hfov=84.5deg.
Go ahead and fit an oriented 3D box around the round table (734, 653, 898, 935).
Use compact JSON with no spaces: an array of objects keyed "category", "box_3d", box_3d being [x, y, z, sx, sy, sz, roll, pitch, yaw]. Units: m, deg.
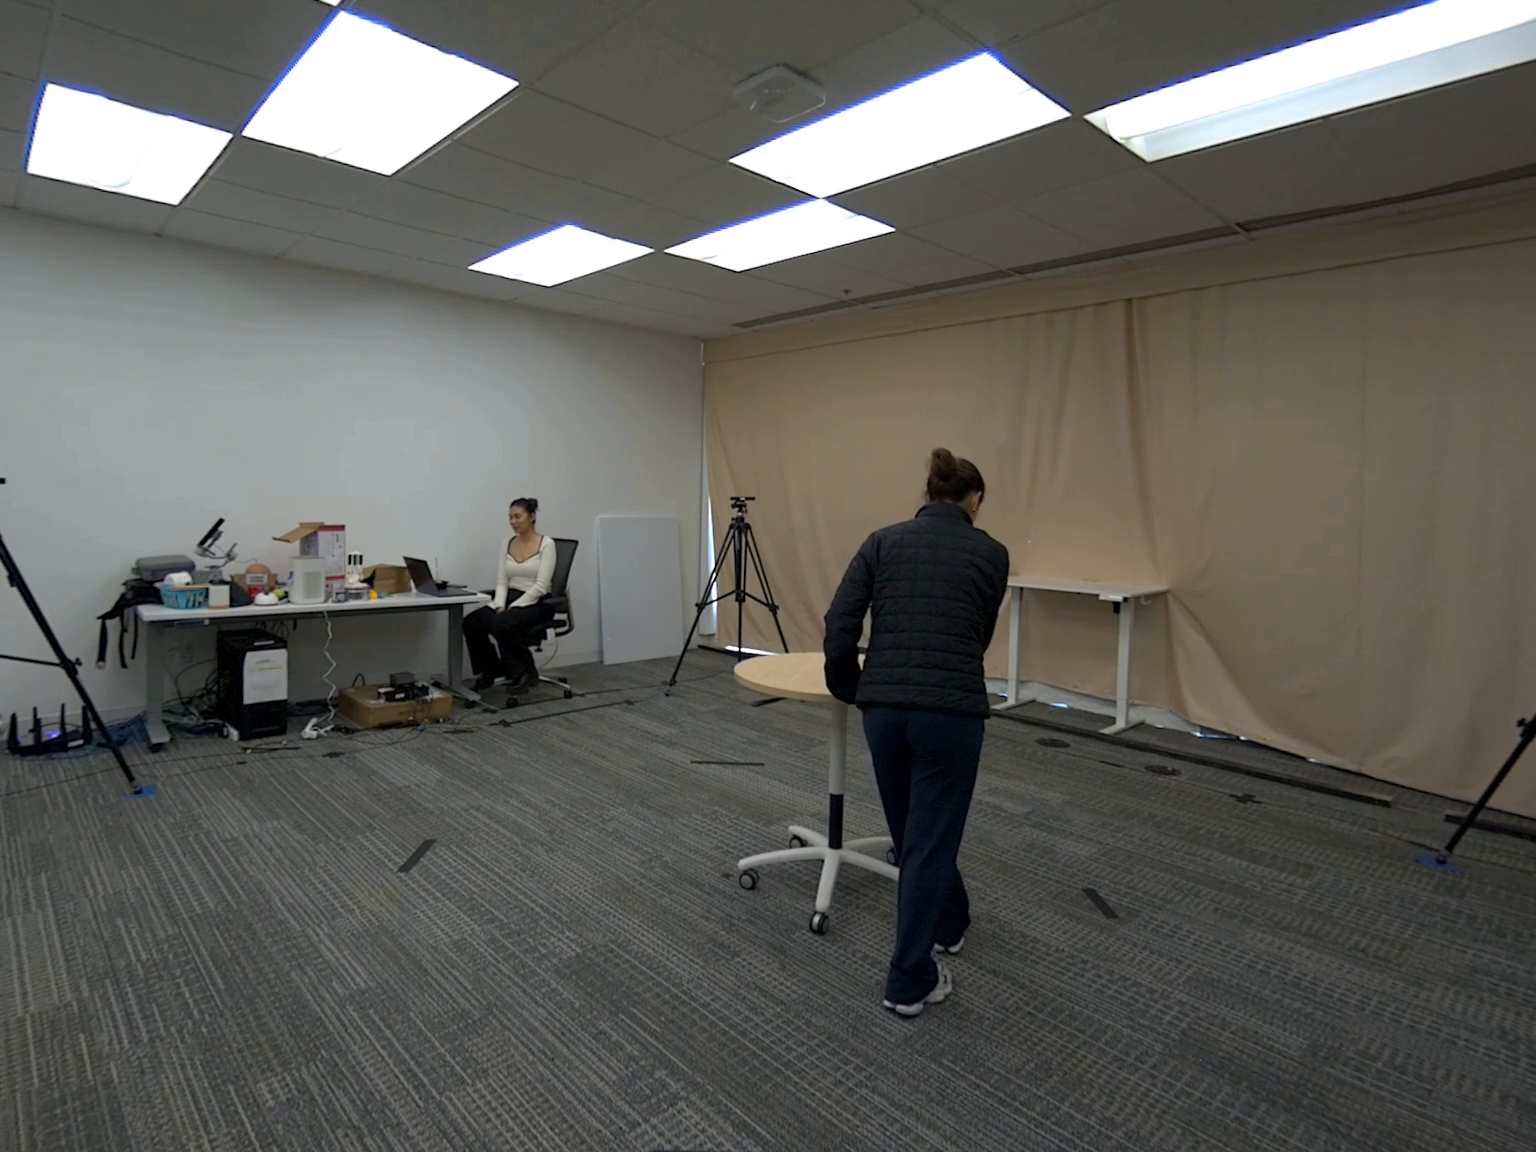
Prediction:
[{"category":"round table","box_3d":[0.254,0.734,3.007,0.784,0.784,0.788,1,4,-1]}]
